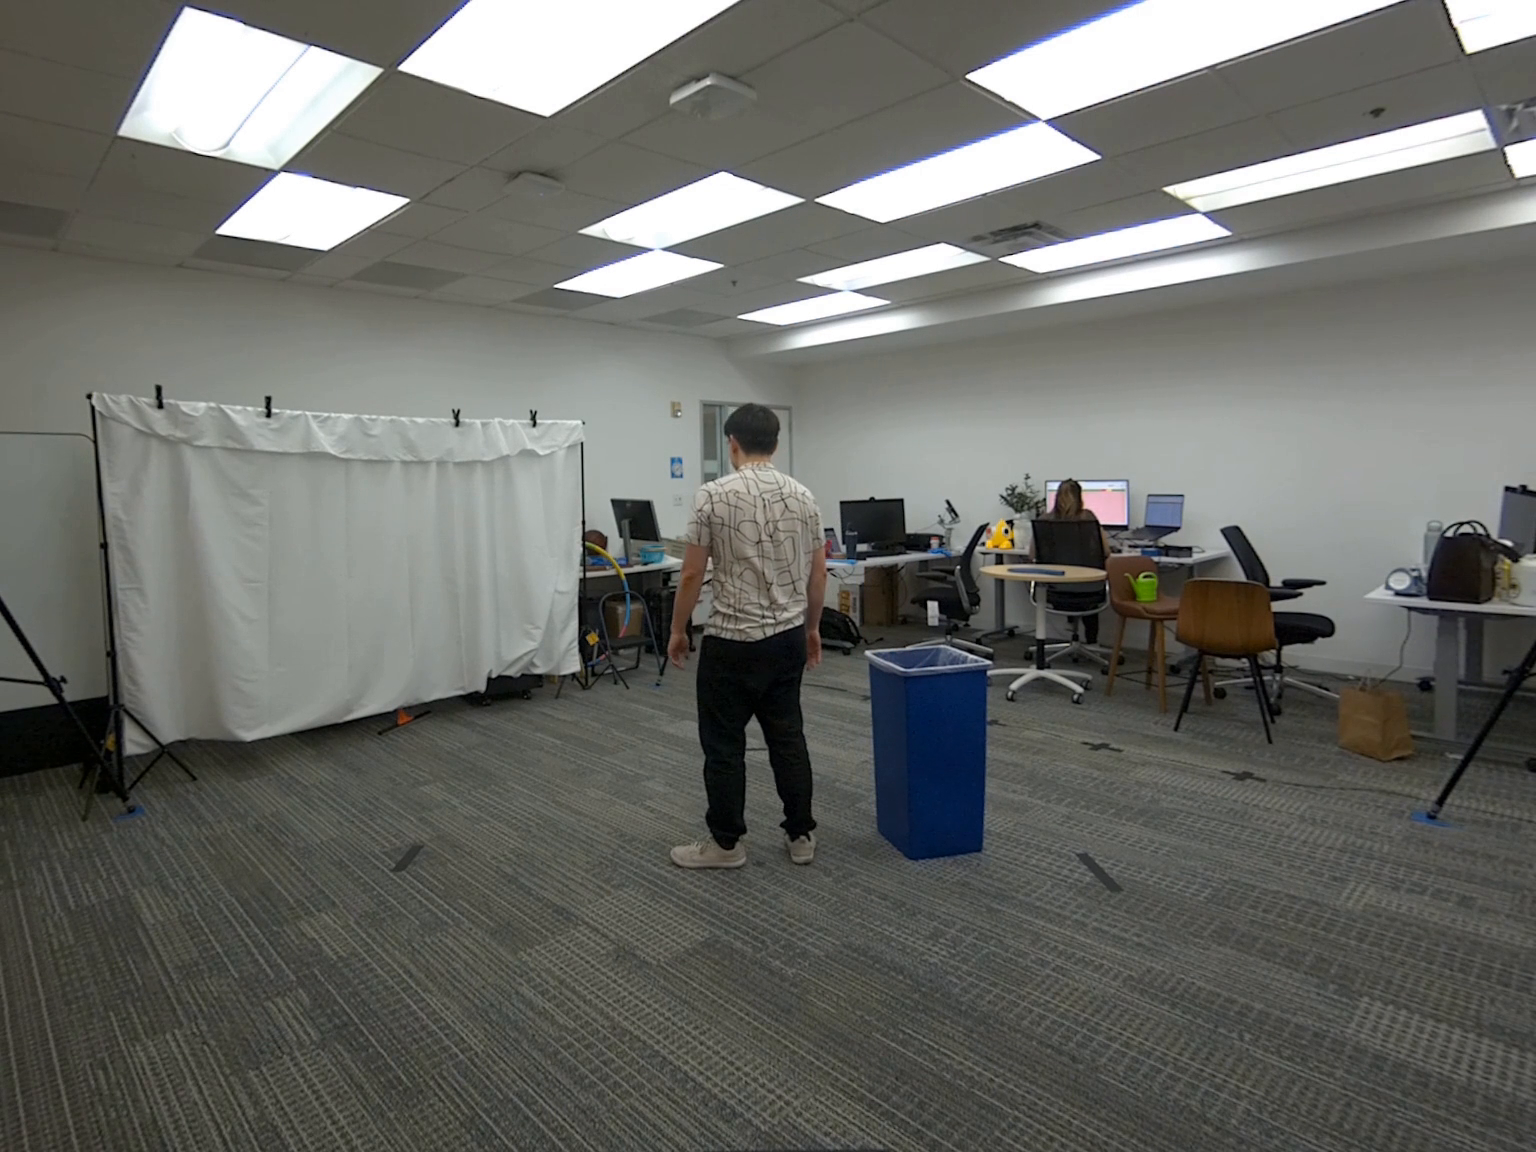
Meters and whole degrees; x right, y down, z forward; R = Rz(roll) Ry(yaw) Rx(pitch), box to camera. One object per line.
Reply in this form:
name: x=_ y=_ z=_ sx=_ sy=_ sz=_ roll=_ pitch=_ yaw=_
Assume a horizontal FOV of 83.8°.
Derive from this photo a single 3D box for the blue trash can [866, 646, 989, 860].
blue trash can: x=0.606 y=0.662 z=3.263 sx=0.369 sy=0.711 sz=0.385 roll=-2 pitch=4 yaw=-16
